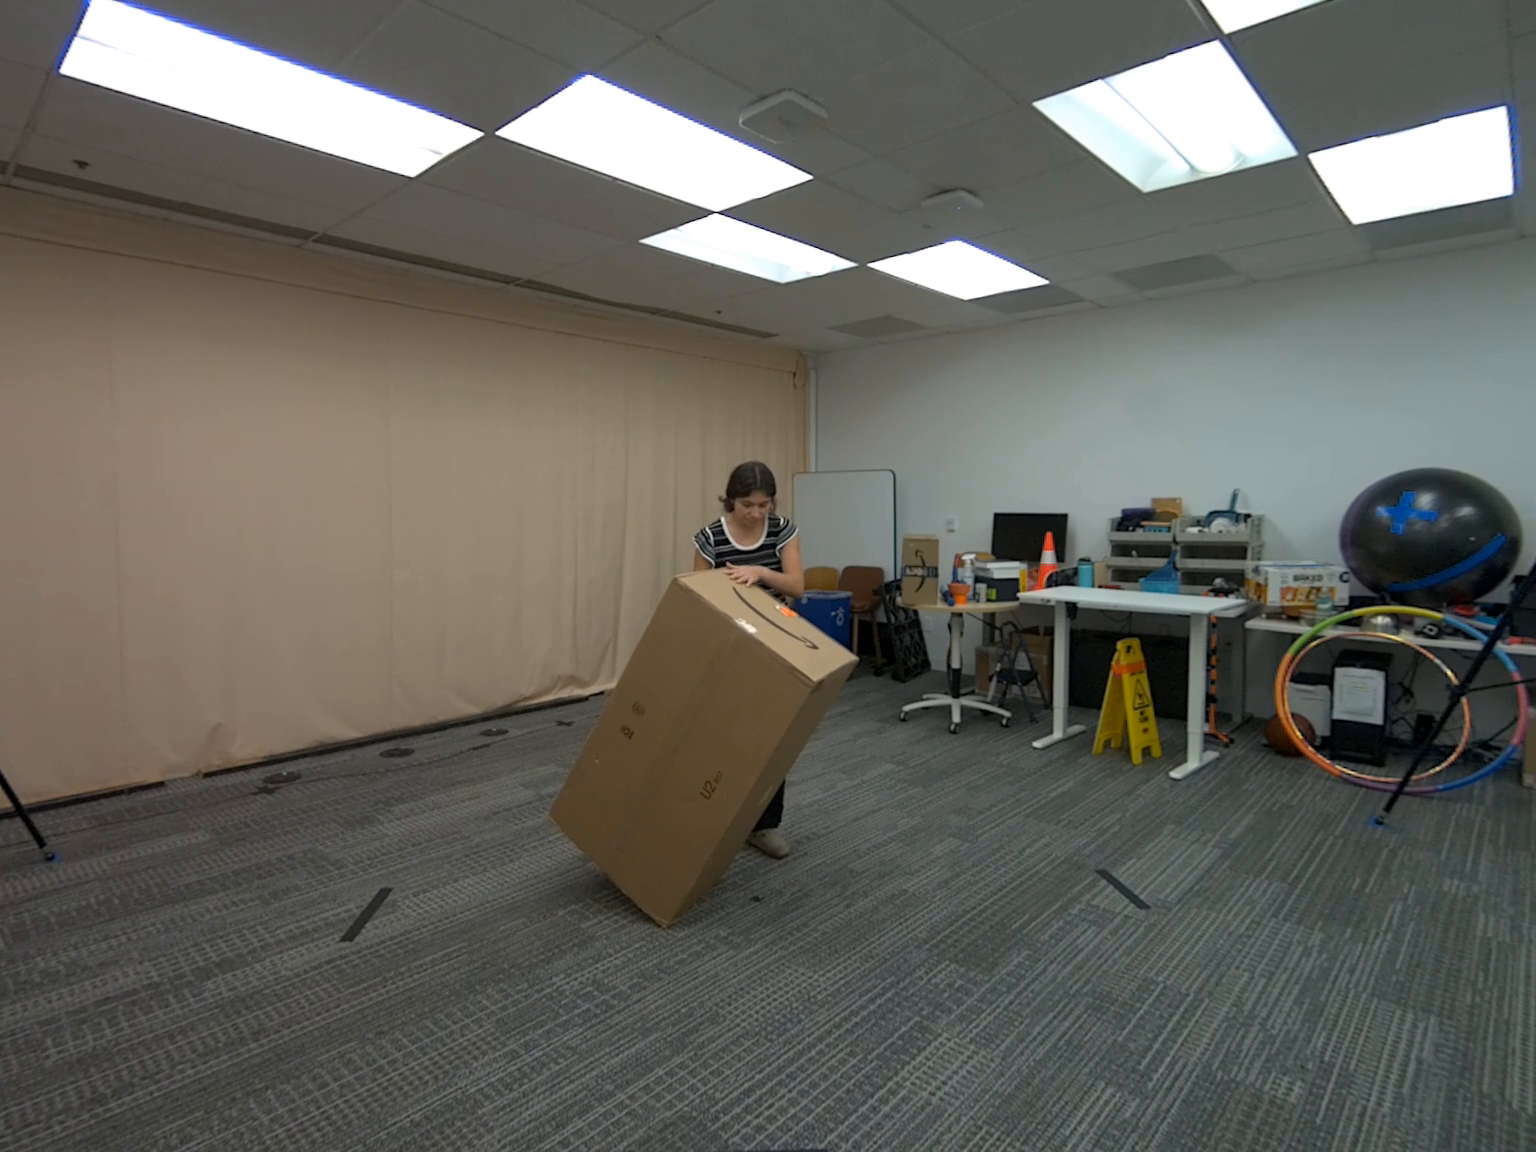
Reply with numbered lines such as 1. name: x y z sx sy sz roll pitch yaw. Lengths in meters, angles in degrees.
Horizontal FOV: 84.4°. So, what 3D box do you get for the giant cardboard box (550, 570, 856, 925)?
1. giant cardboard box: -0.236 0.568 2.921 0.592 1.025 0.416 35 17 20
